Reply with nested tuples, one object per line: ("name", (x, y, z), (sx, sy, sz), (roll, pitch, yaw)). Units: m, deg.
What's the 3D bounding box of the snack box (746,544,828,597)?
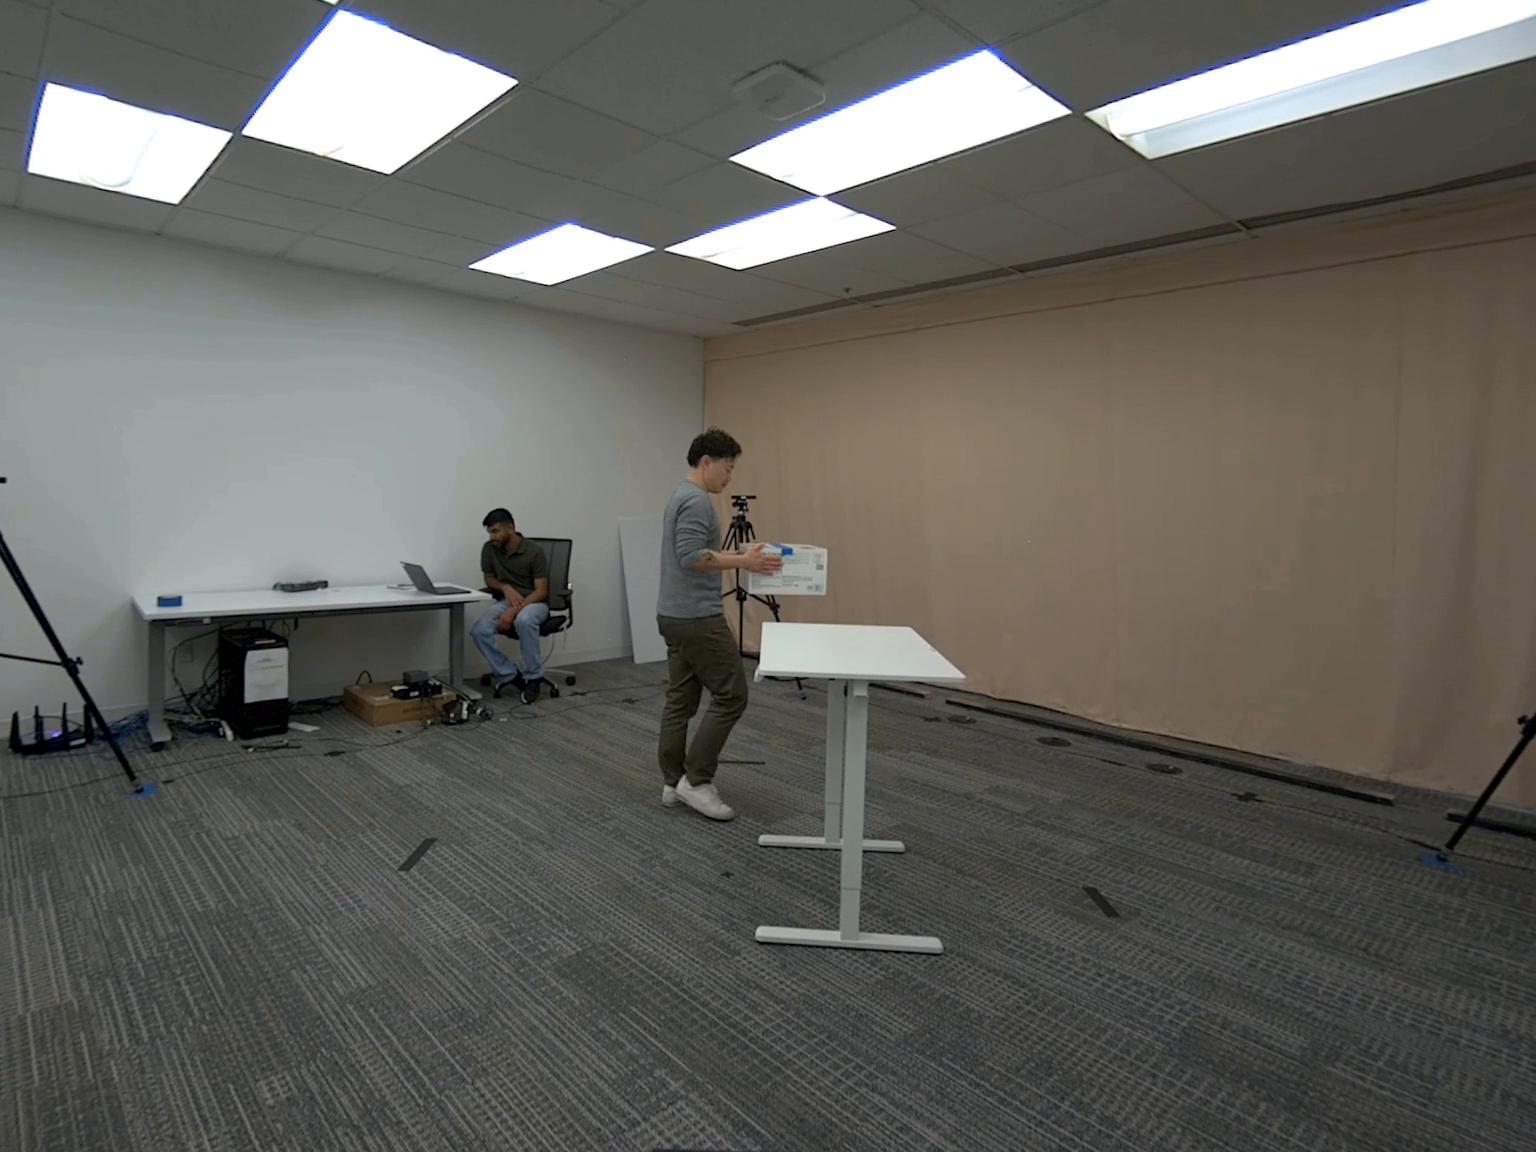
("snack box", (0.053, -0.033, 3.818), (0.339, 0.205, 0.408), (1, 4, -6))
